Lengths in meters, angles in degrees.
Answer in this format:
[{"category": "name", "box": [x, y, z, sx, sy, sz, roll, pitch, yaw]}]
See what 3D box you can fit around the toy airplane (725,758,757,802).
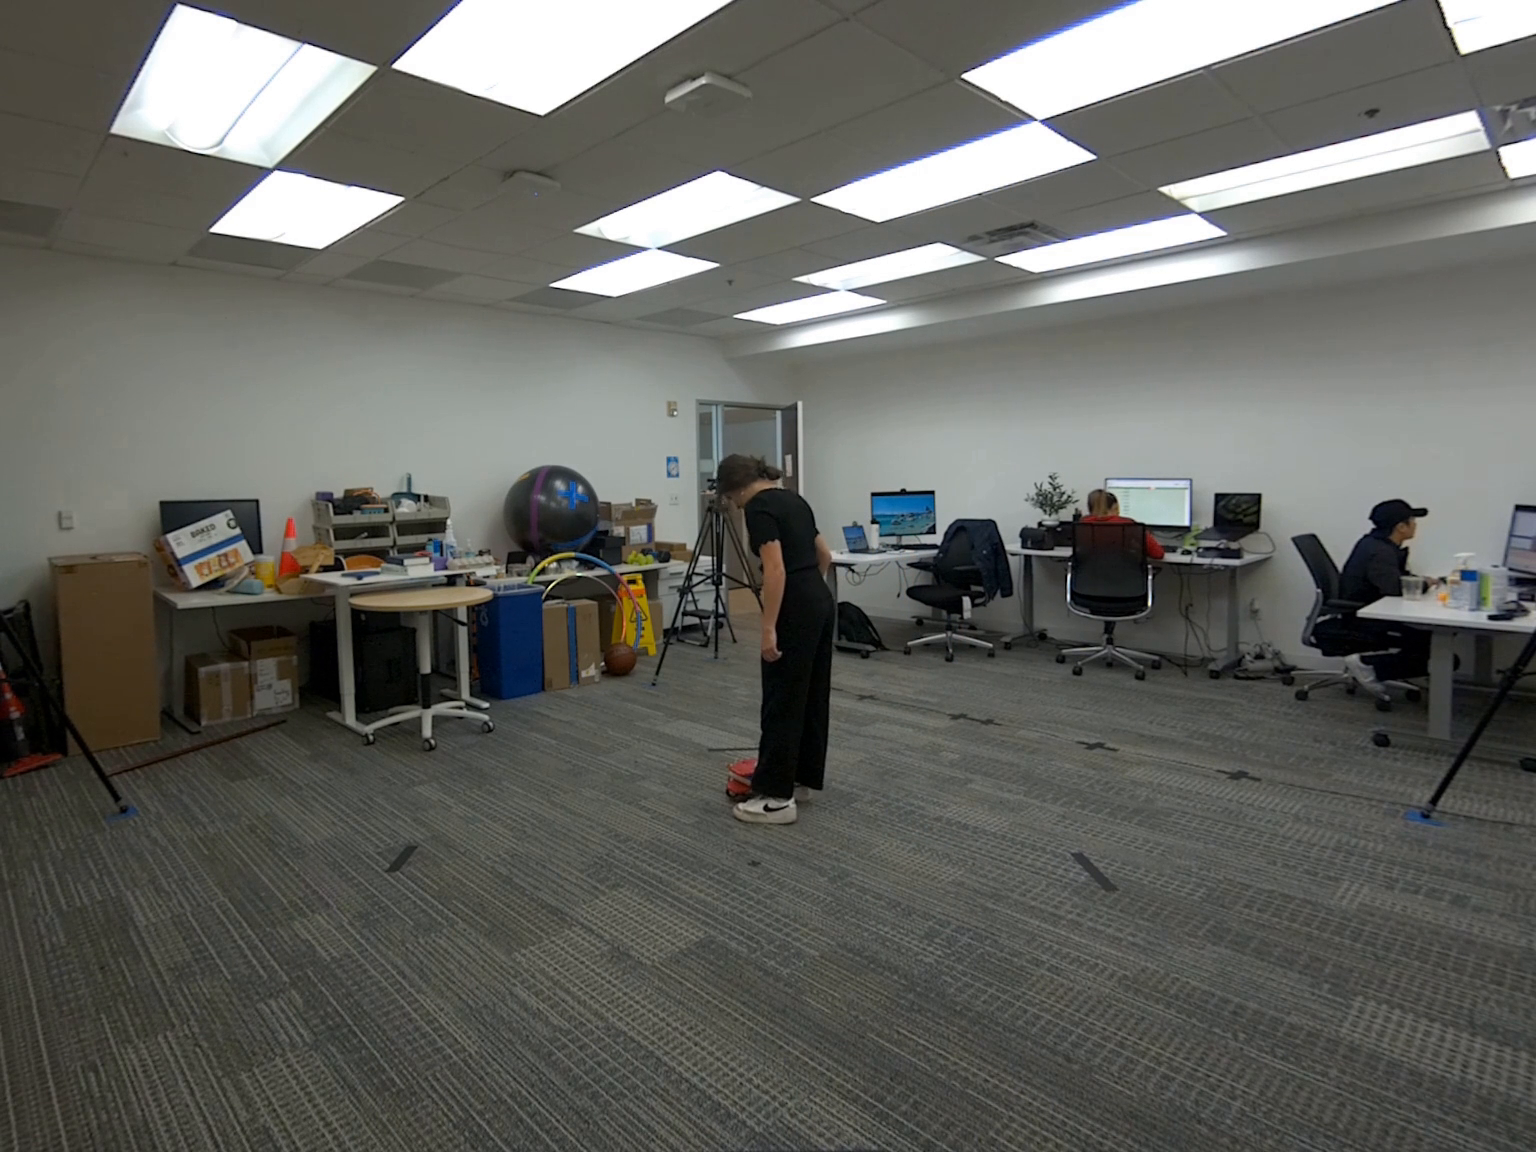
[{"category": "toy airplane", "box": [-0.050, 0.898, 3.741, 0.259, 0.156, 0.251, 1, 1, -2]}]
